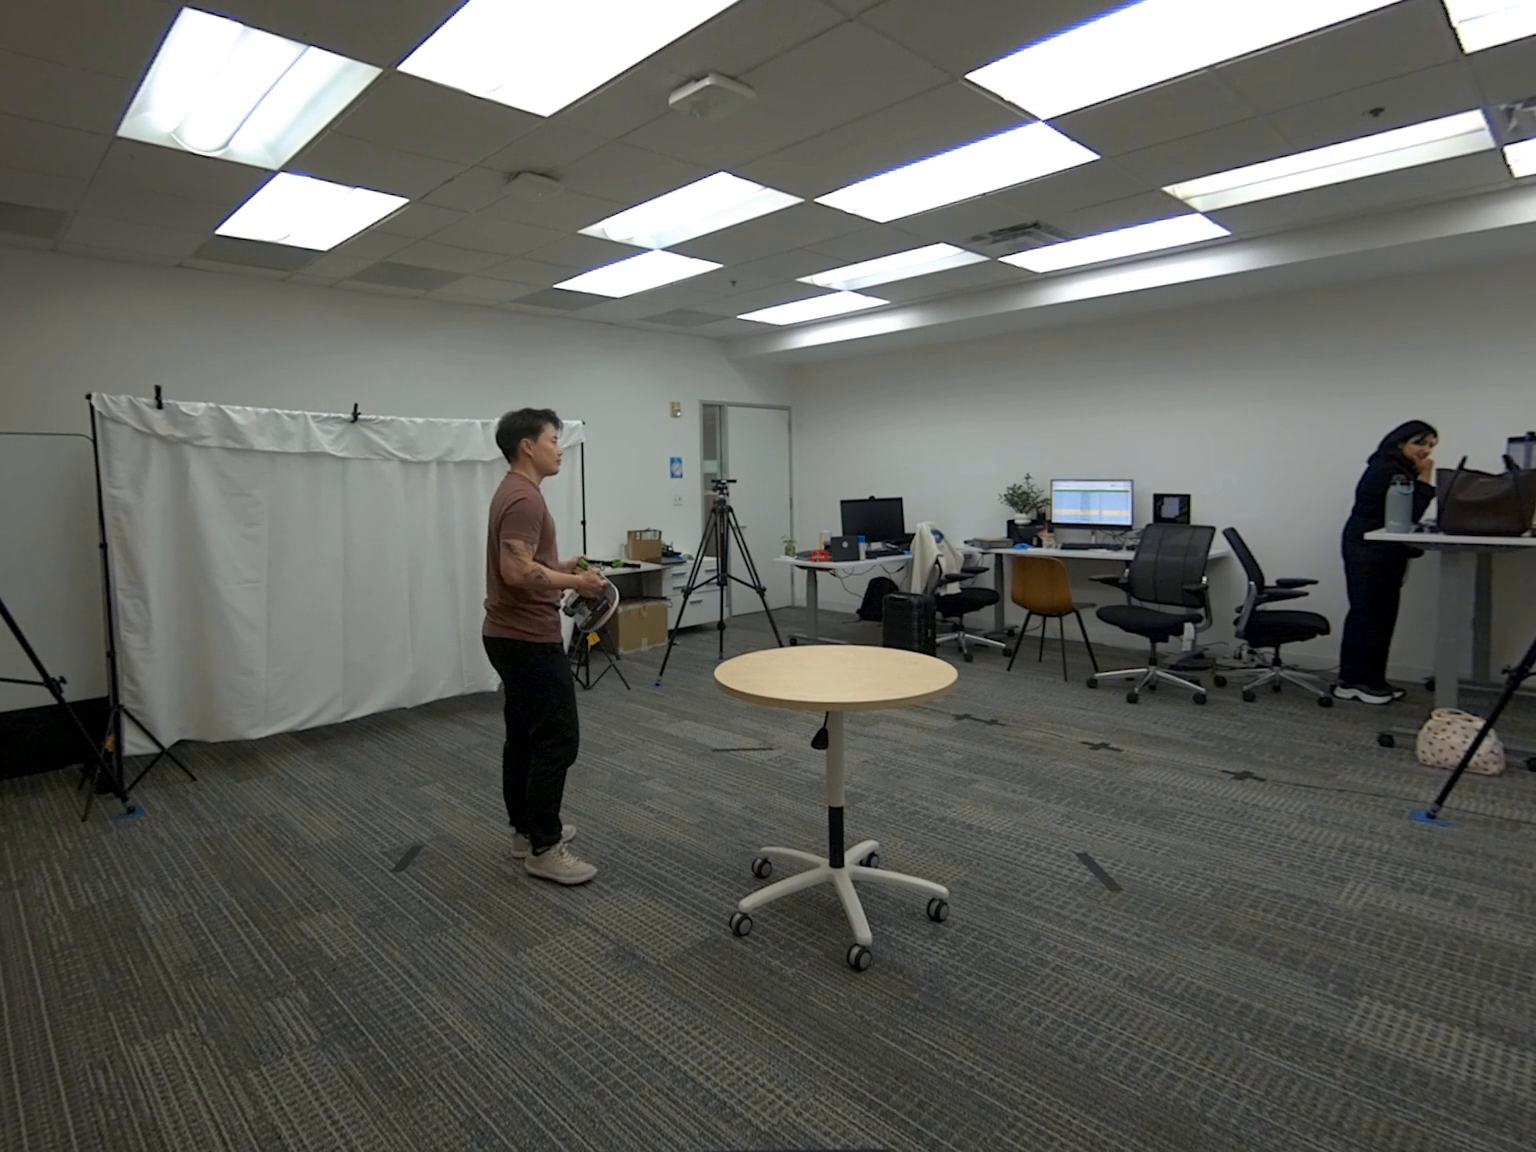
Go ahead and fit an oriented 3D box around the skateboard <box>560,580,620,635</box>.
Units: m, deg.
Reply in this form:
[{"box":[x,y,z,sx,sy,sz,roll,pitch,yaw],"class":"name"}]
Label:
[{"box":[-0.710,0.060,3.286,0.108,0.193,0.803,42,-5,-19],"class":"skateboard"}]
